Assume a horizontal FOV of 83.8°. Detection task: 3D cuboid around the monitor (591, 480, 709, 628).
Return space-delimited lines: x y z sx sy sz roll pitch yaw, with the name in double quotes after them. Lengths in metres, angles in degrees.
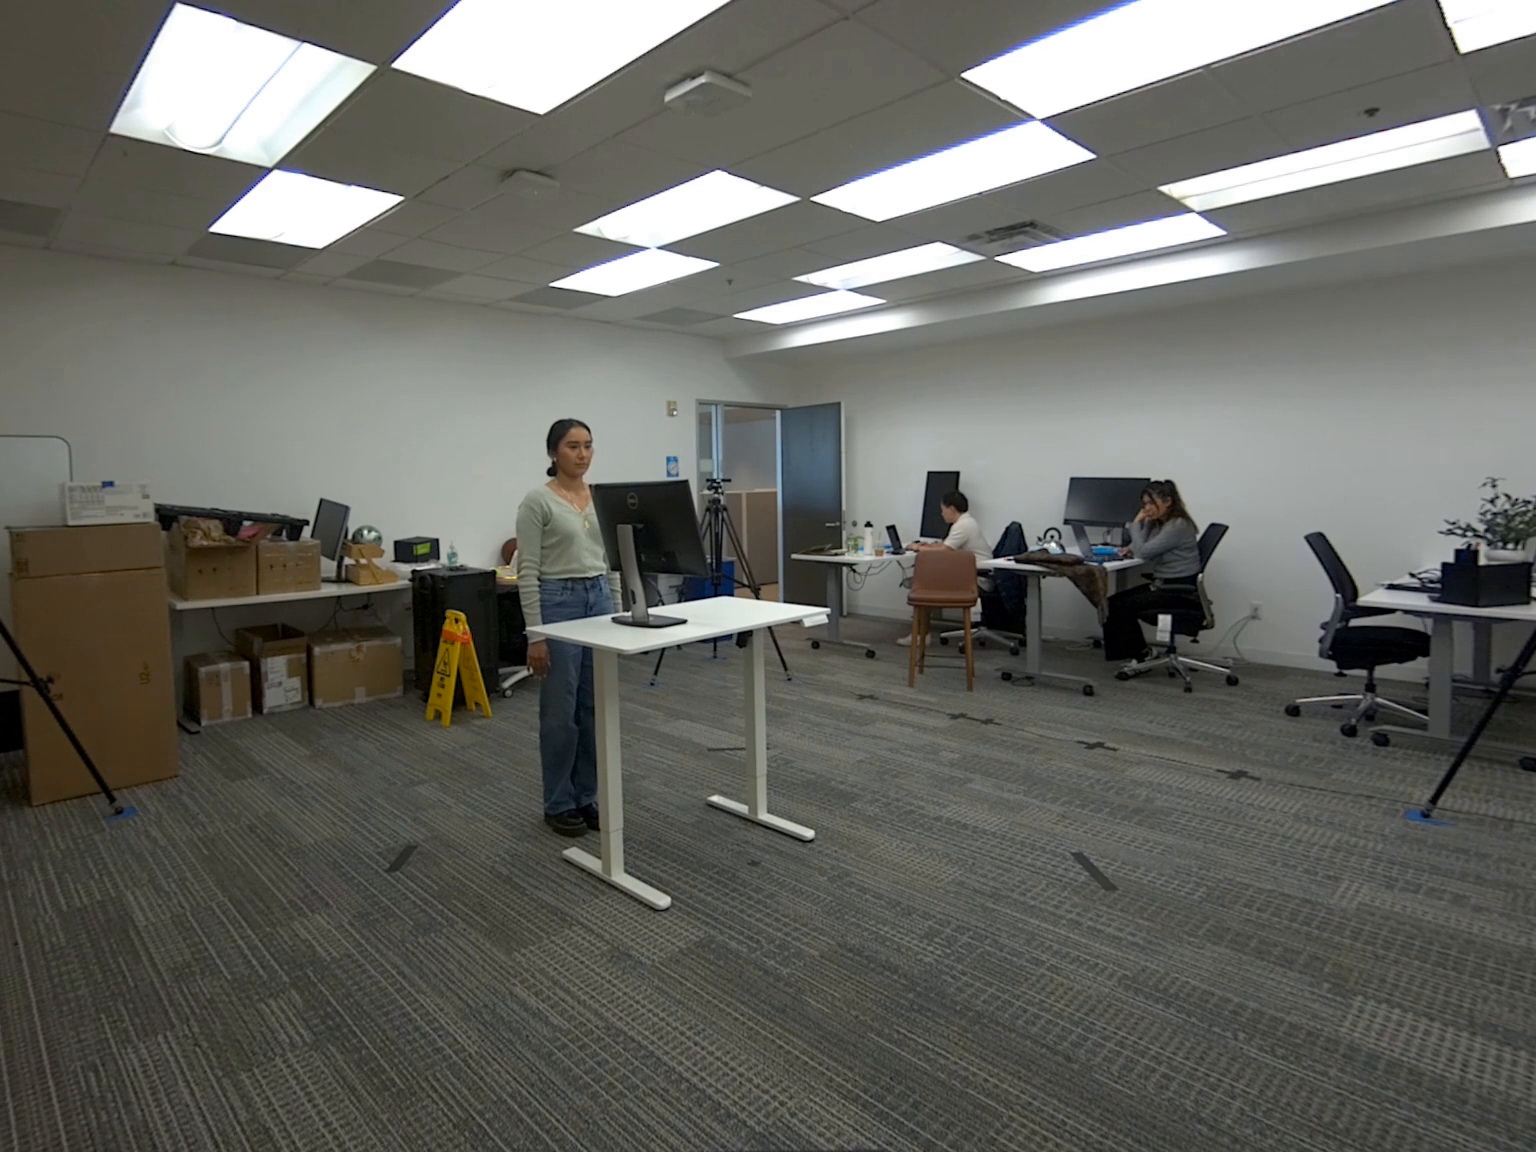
-0.447 -0.086 3.096 0.545 0.515 0.170 1 2 42 "monitor"
